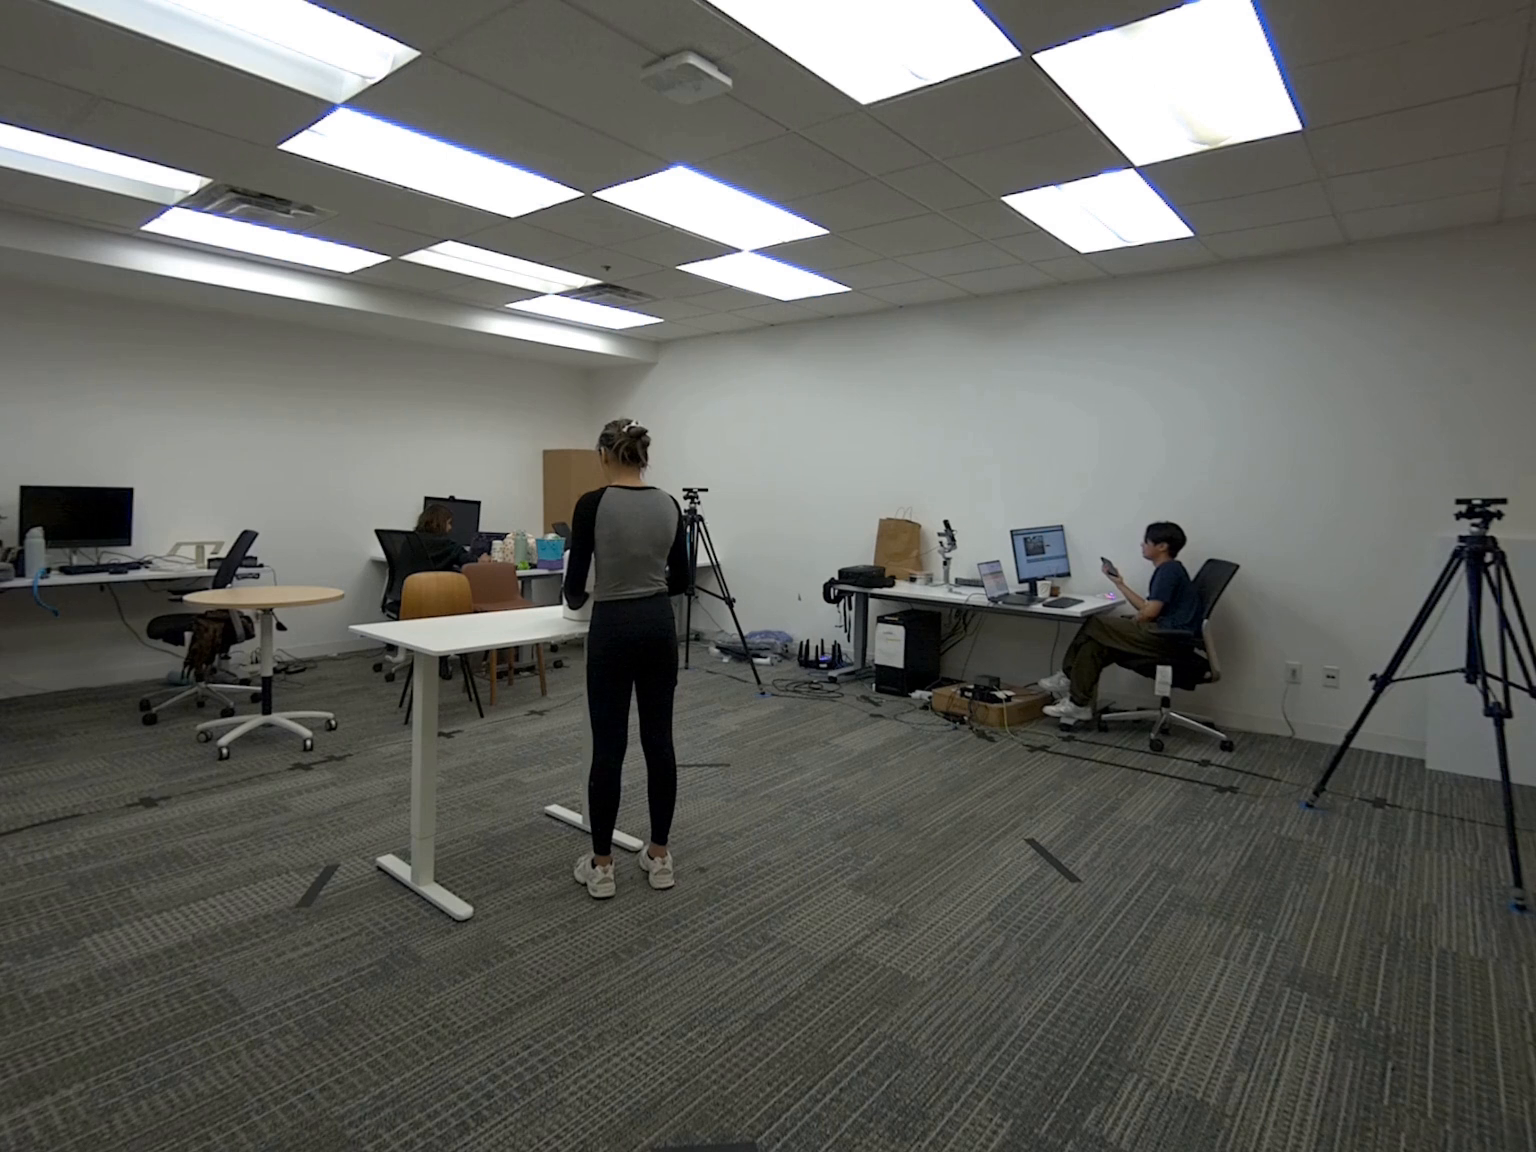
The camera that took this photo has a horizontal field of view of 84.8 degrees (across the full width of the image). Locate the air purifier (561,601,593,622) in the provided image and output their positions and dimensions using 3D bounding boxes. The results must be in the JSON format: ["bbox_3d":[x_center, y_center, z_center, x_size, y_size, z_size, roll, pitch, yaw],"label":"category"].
[{"bbox_3d":[-0.708,0.028,3.310,0.166,0.265,0.177,1,3,-38],"label":"air purifier"}]
